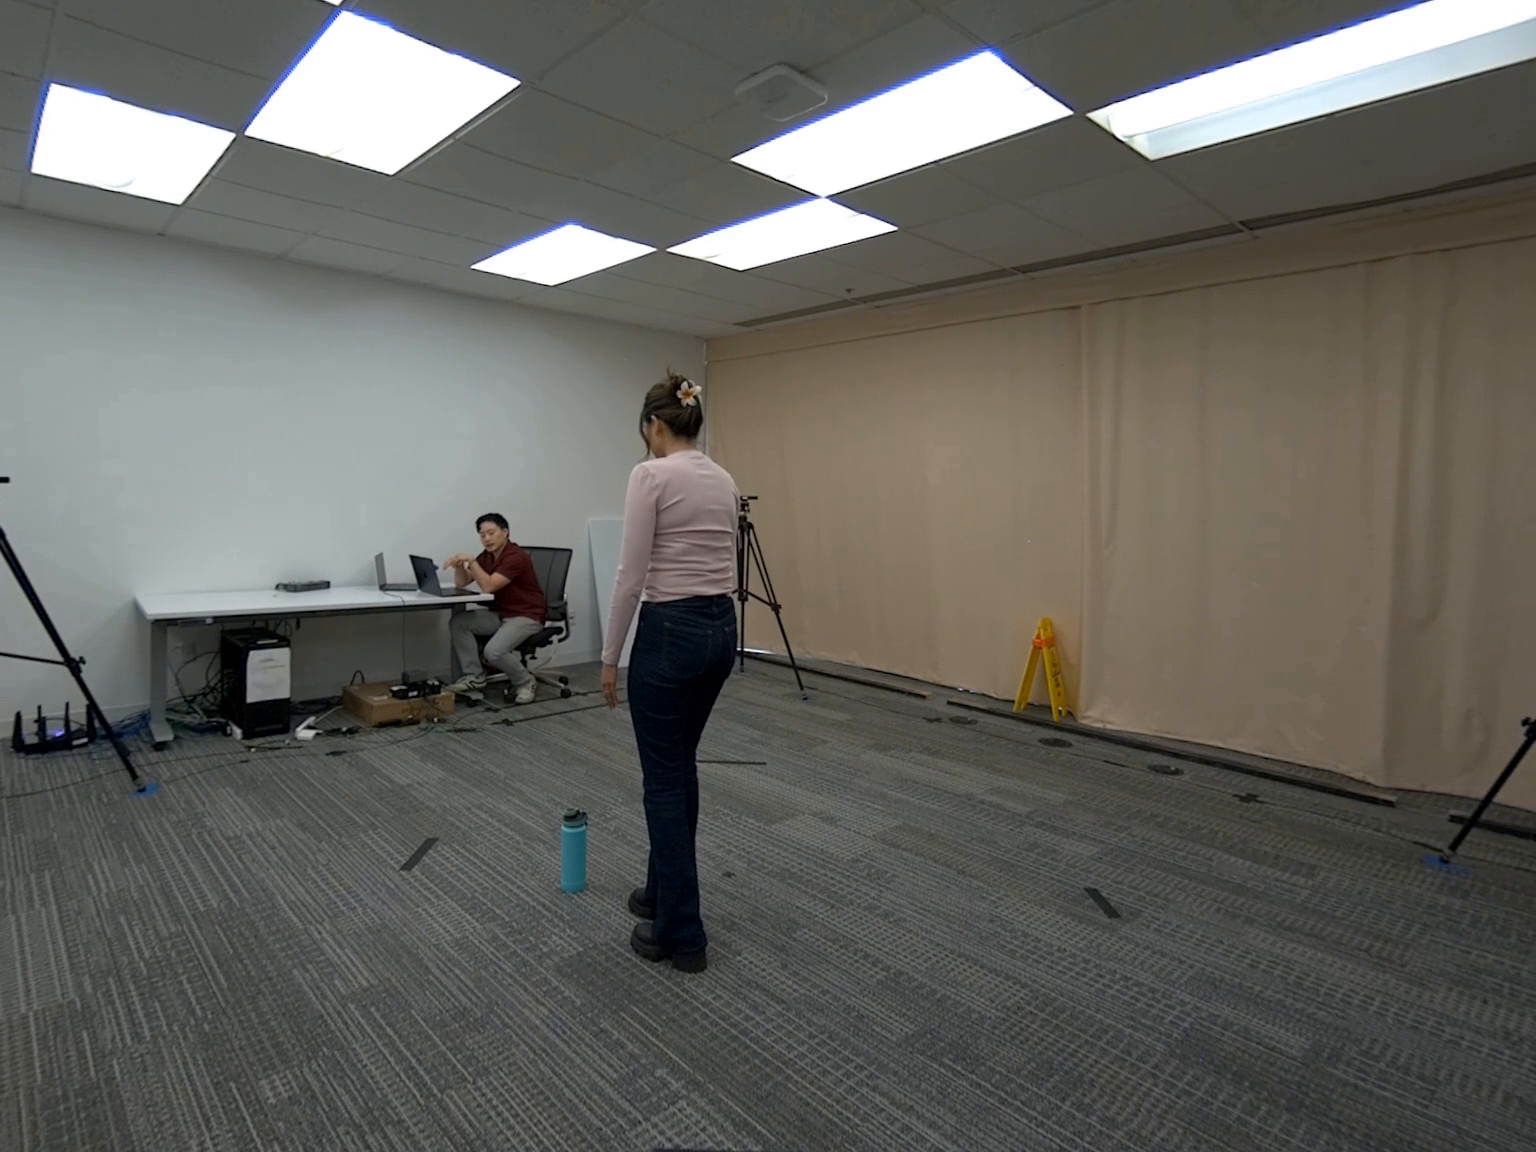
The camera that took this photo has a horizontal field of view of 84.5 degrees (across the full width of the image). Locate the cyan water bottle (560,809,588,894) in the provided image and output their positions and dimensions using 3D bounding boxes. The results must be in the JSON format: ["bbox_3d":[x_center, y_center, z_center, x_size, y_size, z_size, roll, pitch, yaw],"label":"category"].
[{"bbox_3d":[-0.699,0.964,2.972,0.092,0.283,0.092,2,3,-1],"label":"cyan water bottle"}]
